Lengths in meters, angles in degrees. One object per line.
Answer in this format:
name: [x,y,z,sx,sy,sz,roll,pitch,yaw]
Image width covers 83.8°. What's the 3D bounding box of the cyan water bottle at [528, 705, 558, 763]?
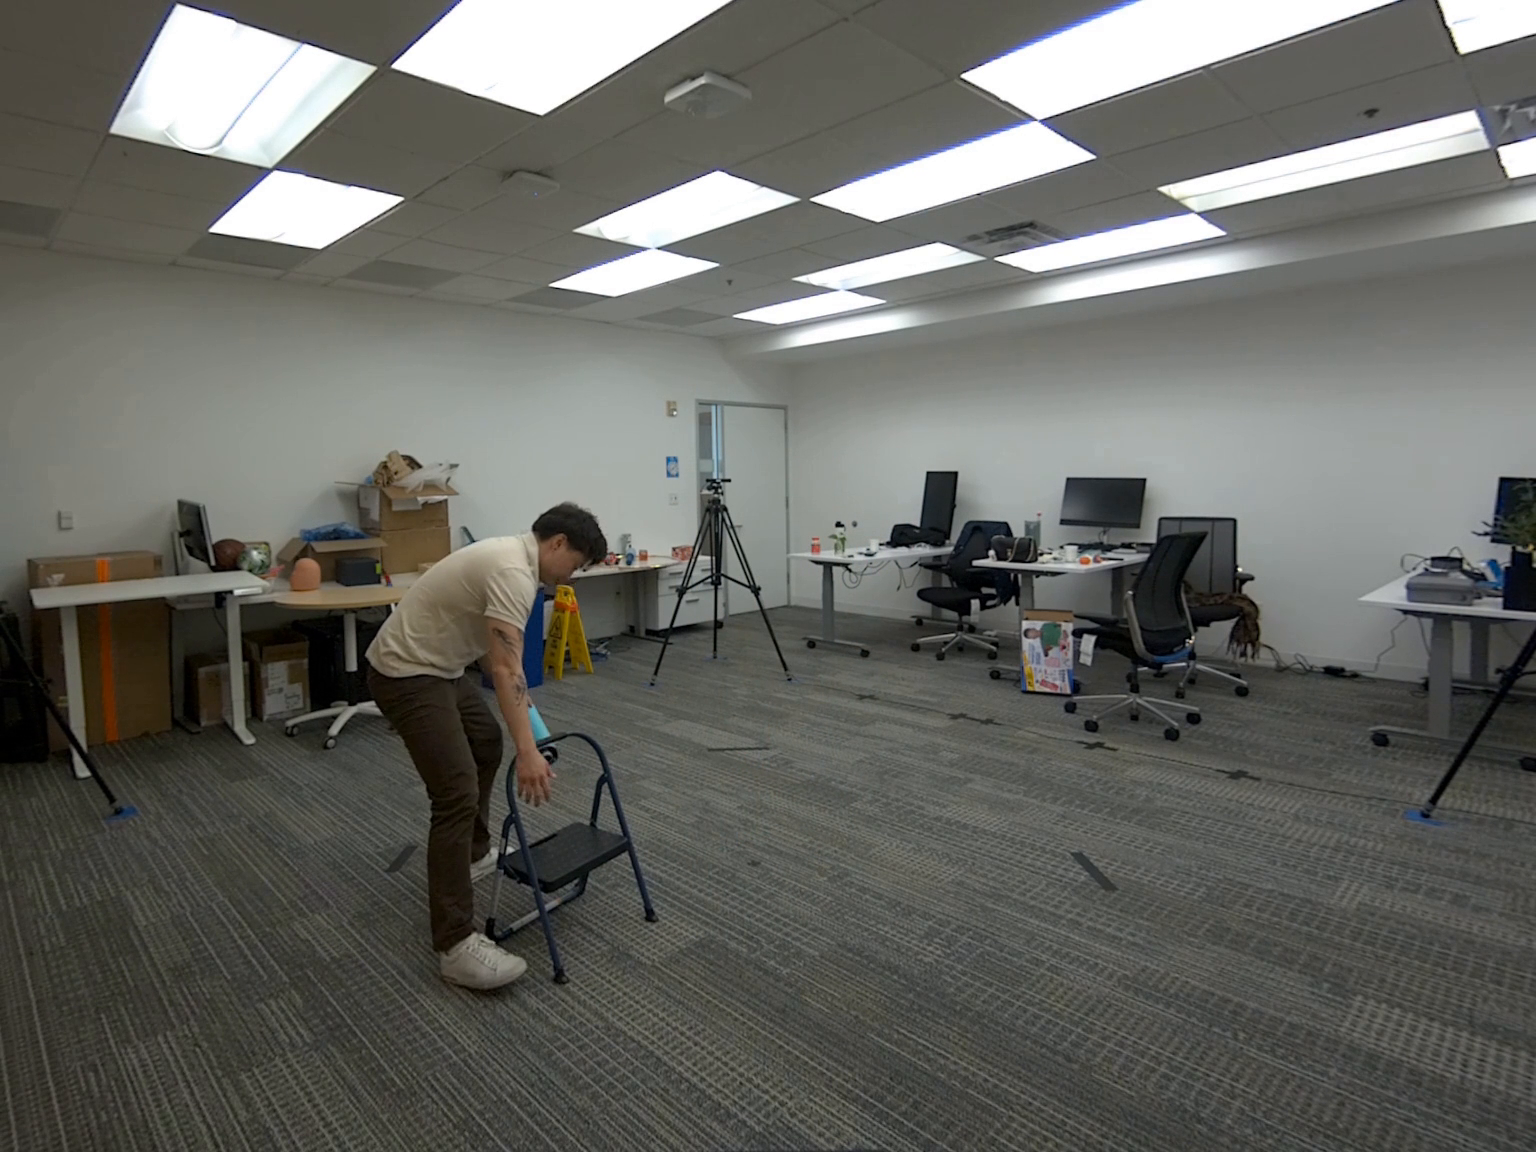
cyan water bottle: [-0.801,0.541,2.980,0.090,0.091,0.295,-5,31,-38]
